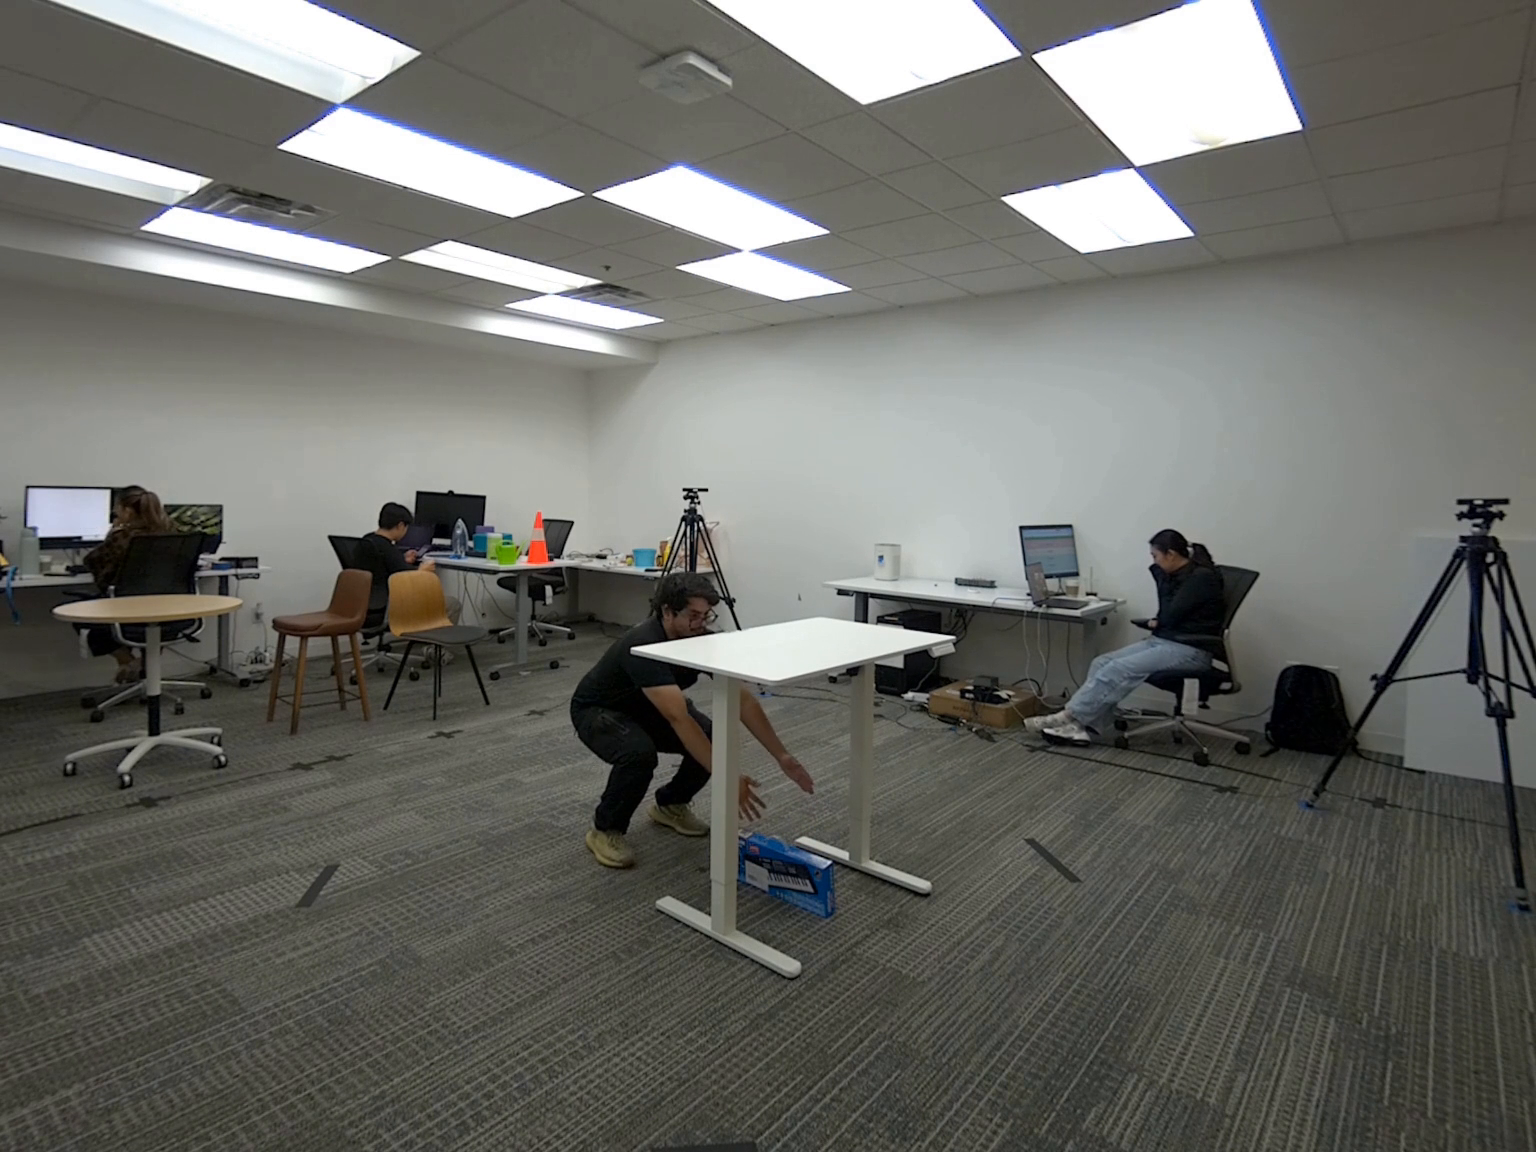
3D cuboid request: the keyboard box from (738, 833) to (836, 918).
[{"bbox_3d":[0.025,1.006,2.921,0.452,0.174,0.057,5,11,41],"label":"keyboard box"}]
